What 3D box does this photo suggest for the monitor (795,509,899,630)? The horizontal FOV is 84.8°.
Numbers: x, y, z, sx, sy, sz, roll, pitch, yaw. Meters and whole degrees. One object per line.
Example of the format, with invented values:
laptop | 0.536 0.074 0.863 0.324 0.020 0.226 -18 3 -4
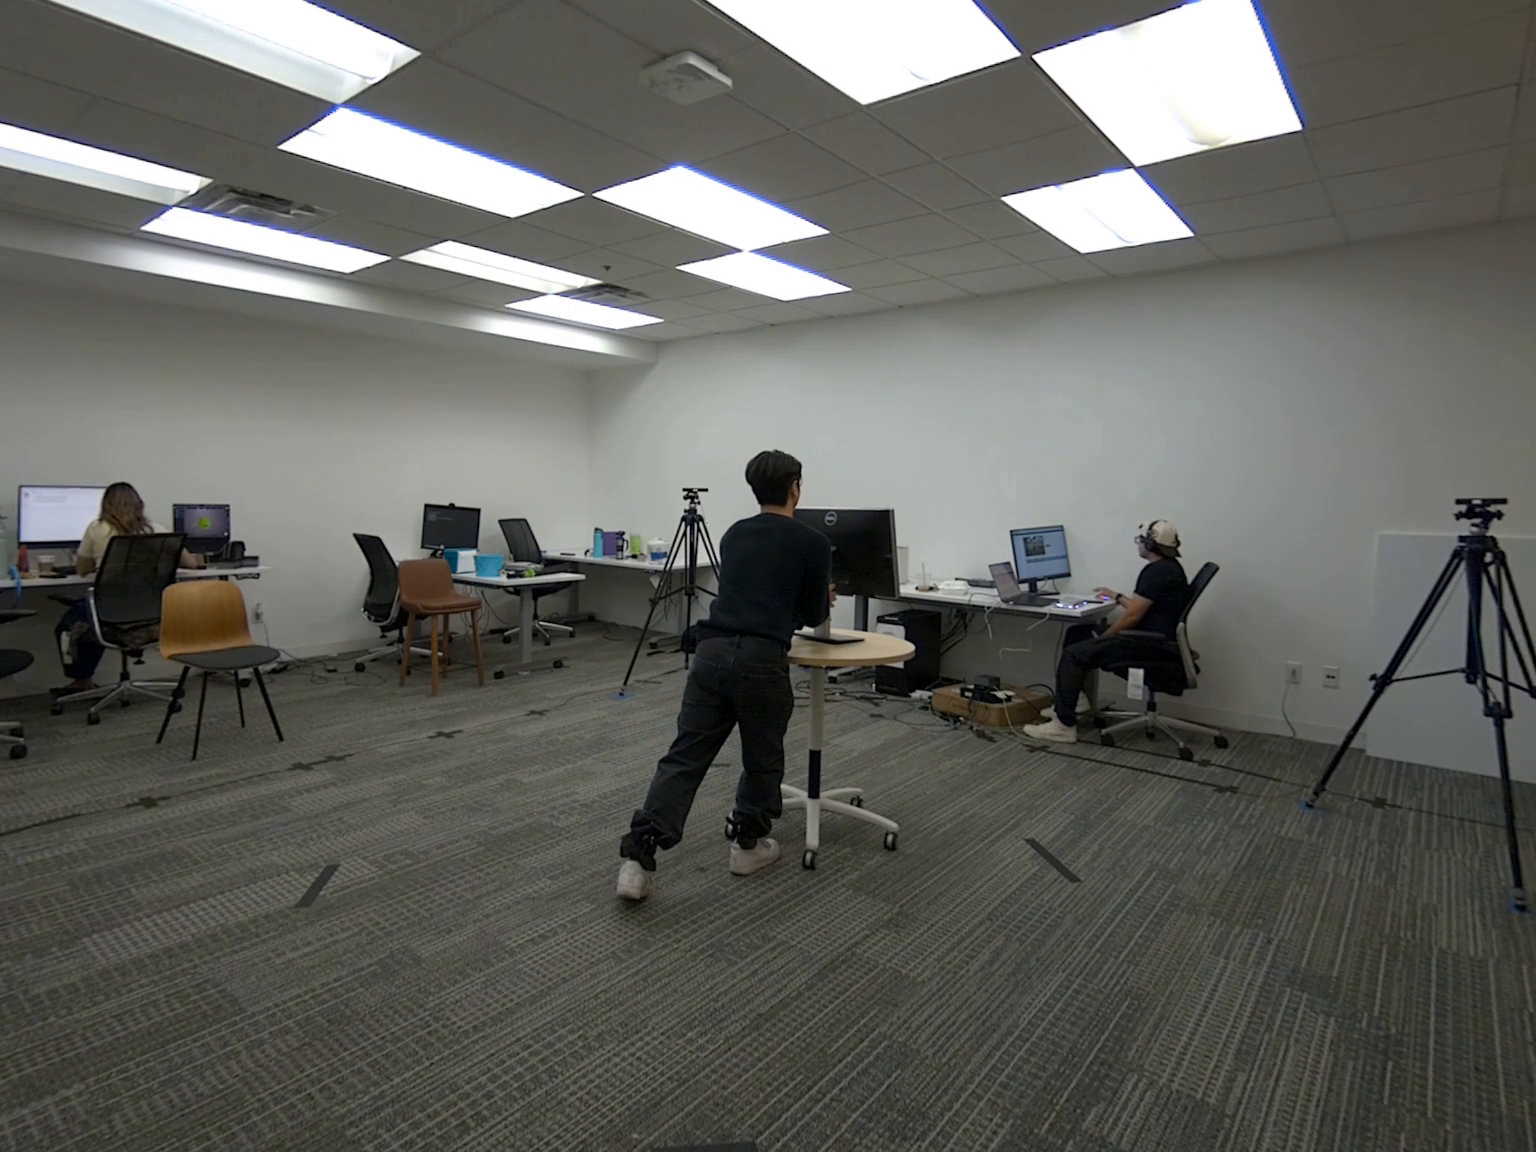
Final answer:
monitor | 0.260 -0.018 3.520 0.547 0.518 0.168 2 -6 40
